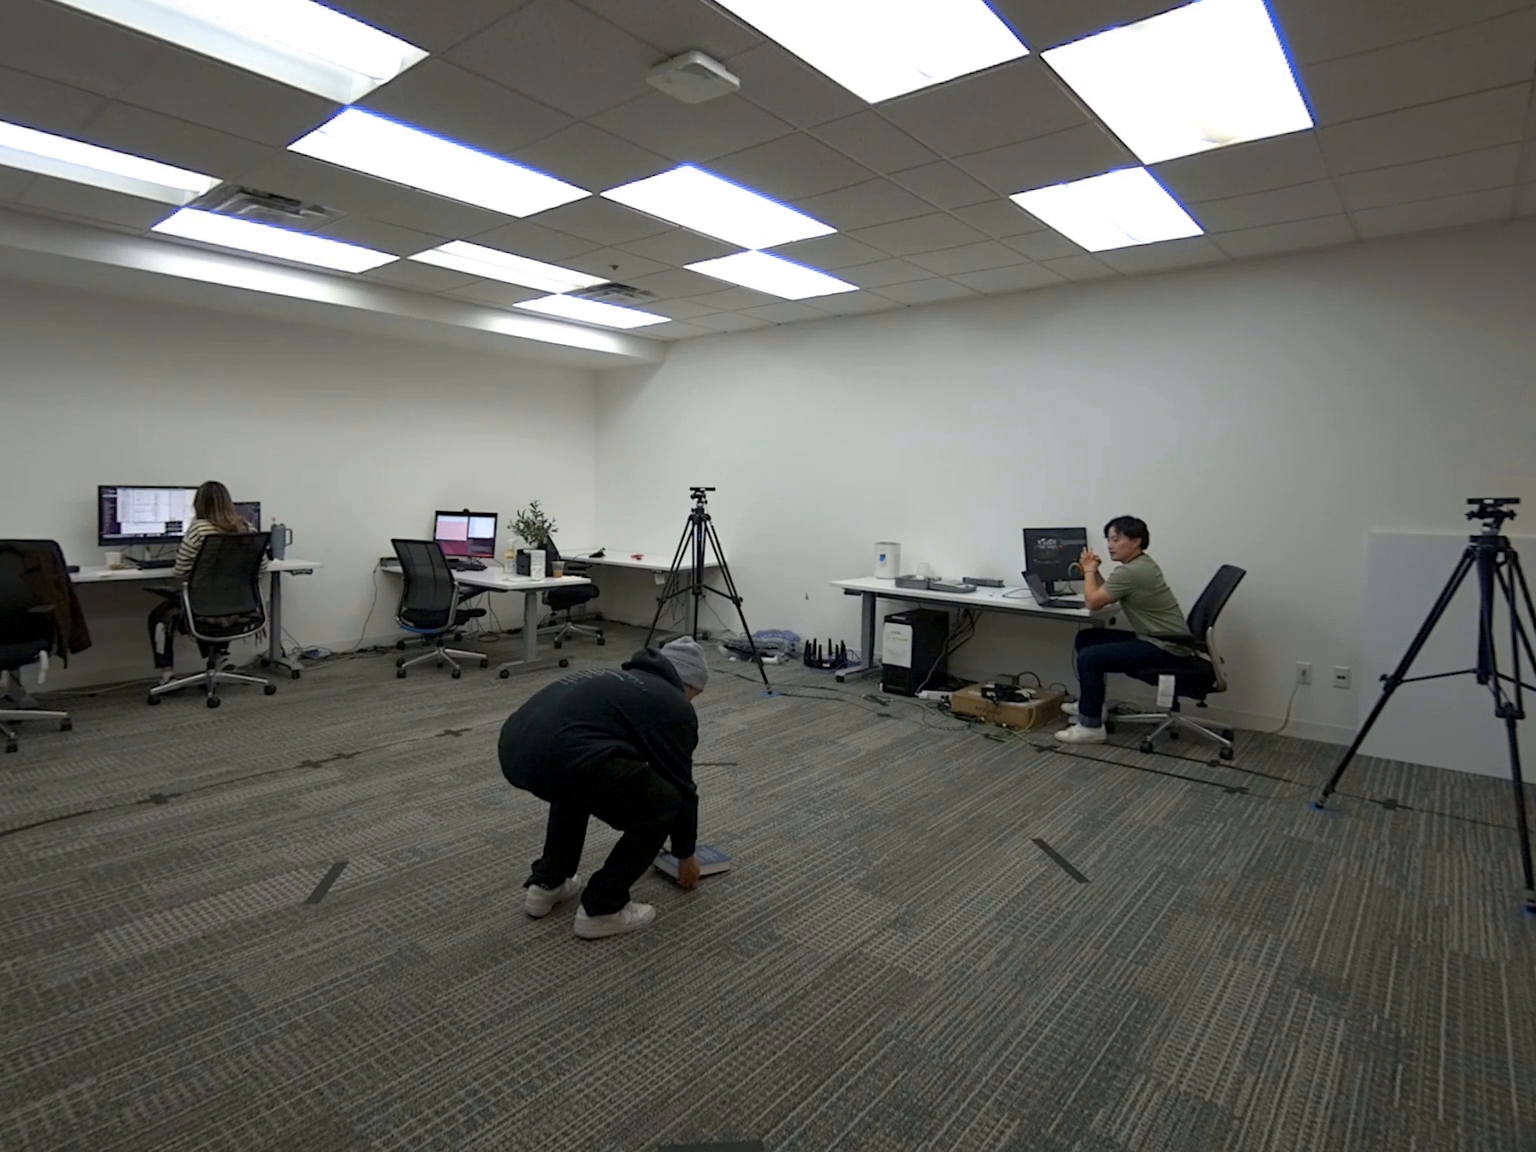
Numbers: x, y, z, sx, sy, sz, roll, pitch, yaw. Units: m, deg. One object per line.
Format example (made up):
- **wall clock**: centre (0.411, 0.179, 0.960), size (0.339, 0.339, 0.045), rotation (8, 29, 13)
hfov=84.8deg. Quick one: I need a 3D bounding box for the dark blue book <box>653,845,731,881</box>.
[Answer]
- **dark blue book**: centre (-0.281, 1.038, 3.091), size (0.237, 0.045, 0.169), rotation (3, 2, -37)
